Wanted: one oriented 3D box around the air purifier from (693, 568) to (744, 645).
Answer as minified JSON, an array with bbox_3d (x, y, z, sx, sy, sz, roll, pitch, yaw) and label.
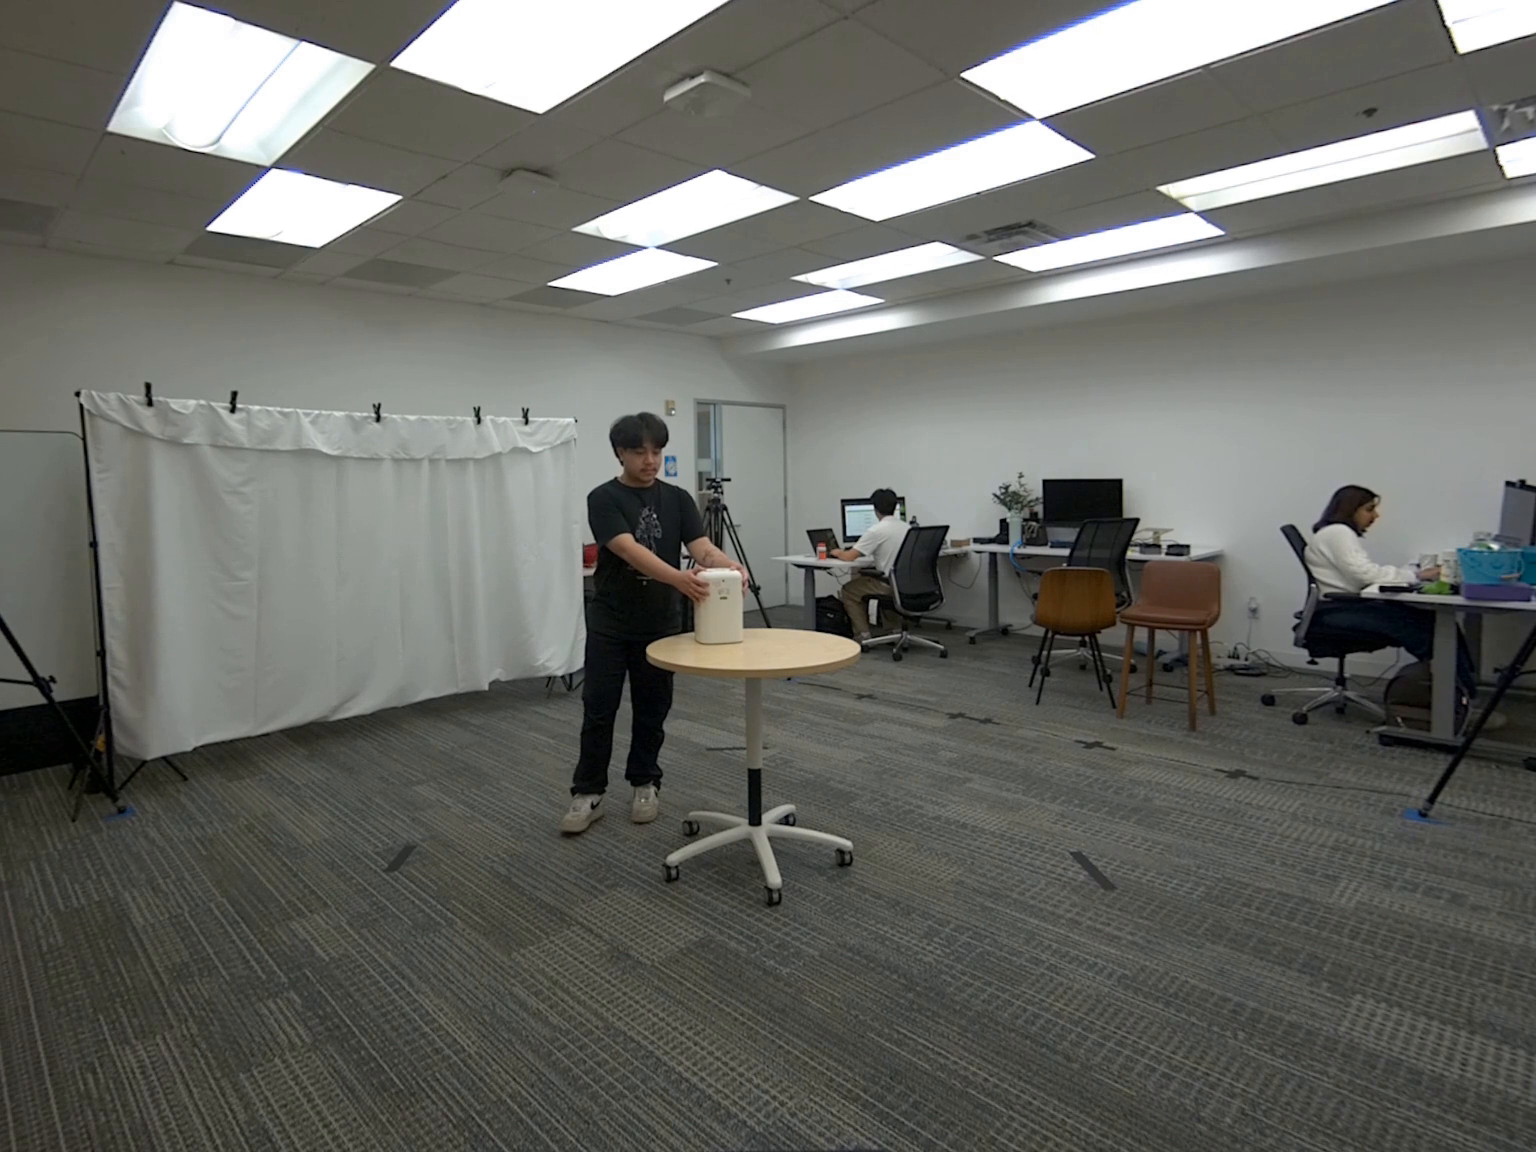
[{"bbox_3d":[-0.185,0.112,3.191,0.169,0.265,0.174,-2,2,-13],"label":"air purifier"}]
